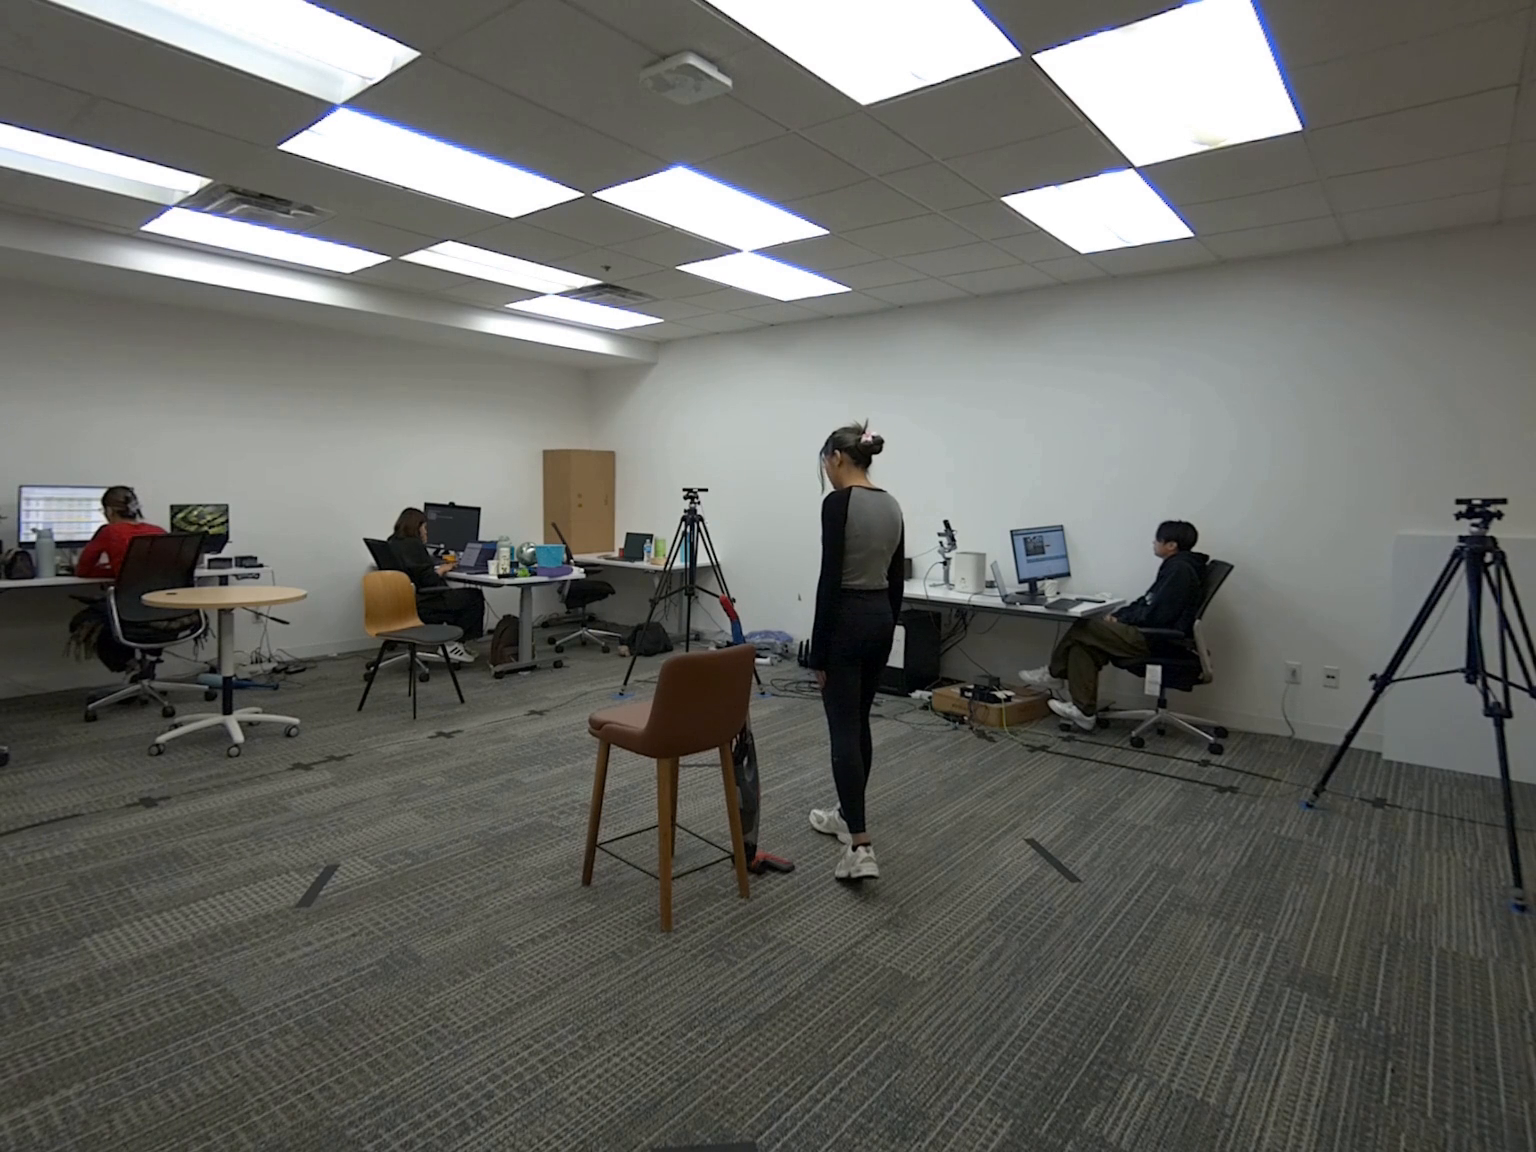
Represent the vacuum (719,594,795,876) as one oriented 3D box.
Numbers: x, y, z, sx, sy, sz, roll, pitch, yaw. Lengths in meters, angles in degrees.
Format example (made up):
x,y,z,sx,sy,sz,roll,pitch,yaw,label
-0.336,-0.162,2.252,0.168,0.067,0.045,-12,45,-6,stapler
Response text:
x,y,z,sx,sy,sz,roll,pitch,yaw,label
-0.111,0.568,3.033,0.141,1.035,0.261,-17,16,-38,vacuum
